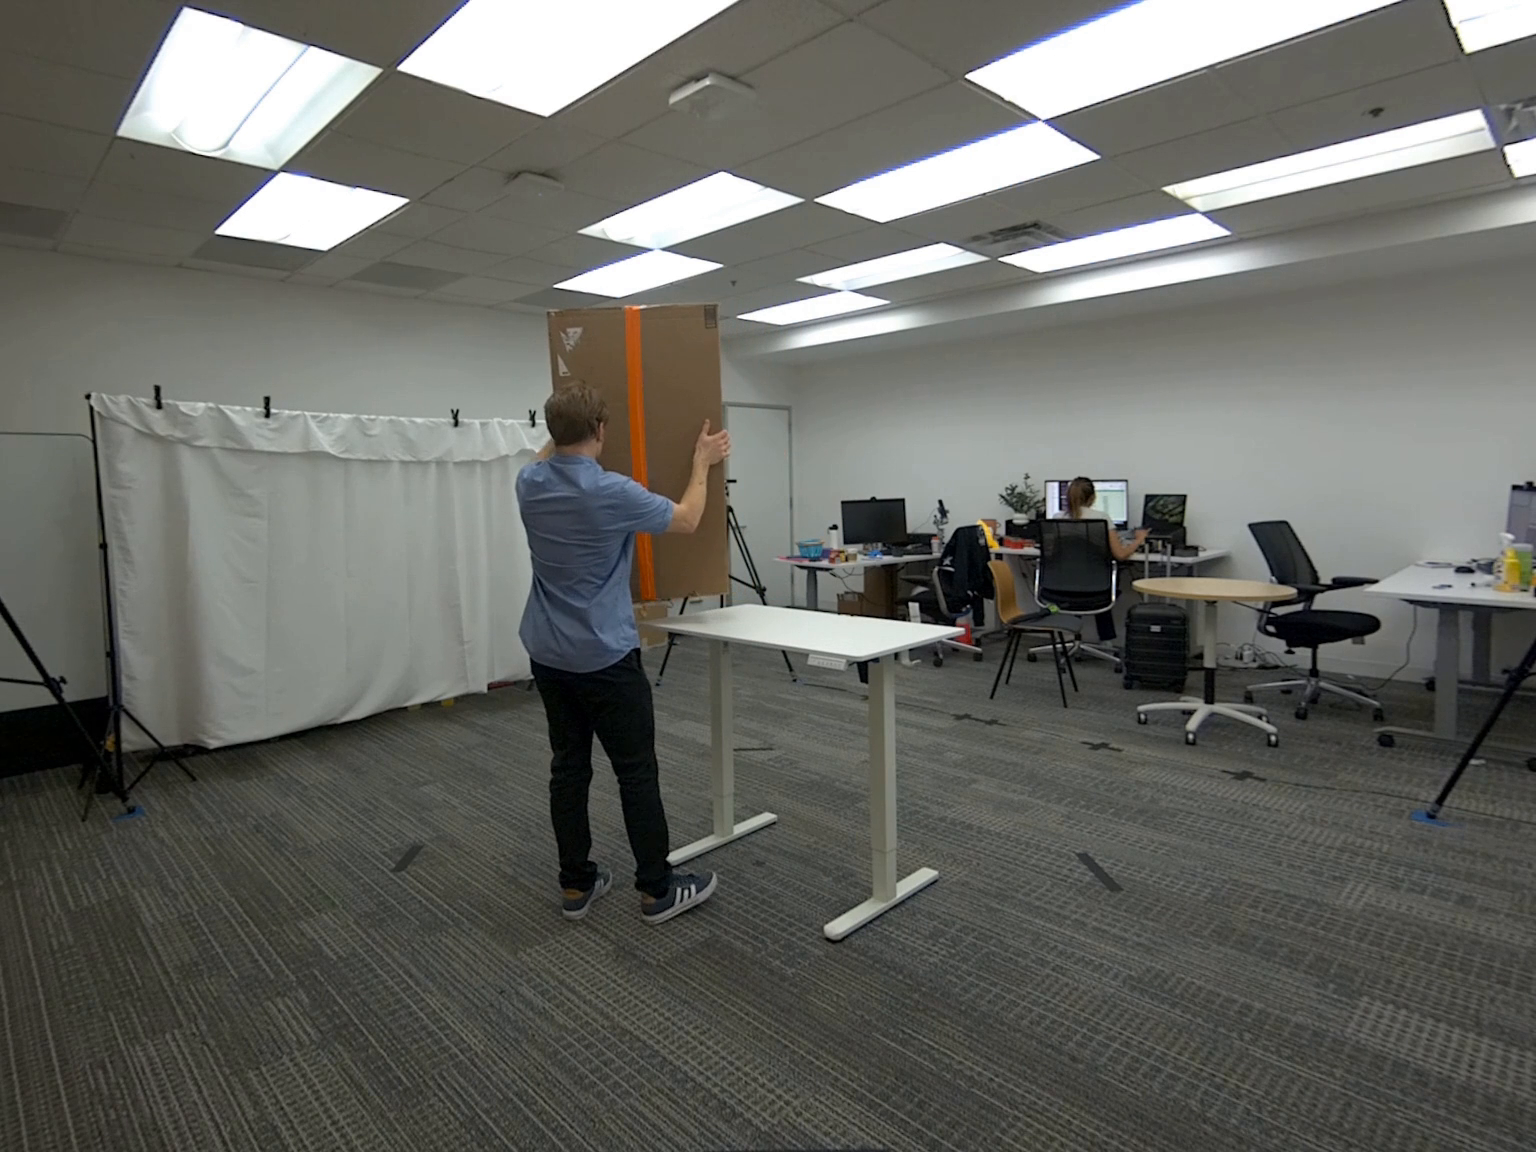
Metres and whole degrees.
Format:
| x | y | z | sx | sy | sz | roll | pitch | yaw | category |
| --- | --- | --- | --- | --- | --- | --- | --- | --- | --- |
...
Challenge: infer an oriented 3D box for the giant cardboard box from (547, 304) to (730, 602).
| x | y | z | sx | sy | sz | roll | pitch | yaw | category |
| --- | --- | --- | --- | --- | --- | --- | --- | --- | --- |
| -0.459 | -0.457 | 3.157 | 0.576 | 1.014 | 0.432 | -2 | 12 | -4 | giant cardboard box |
